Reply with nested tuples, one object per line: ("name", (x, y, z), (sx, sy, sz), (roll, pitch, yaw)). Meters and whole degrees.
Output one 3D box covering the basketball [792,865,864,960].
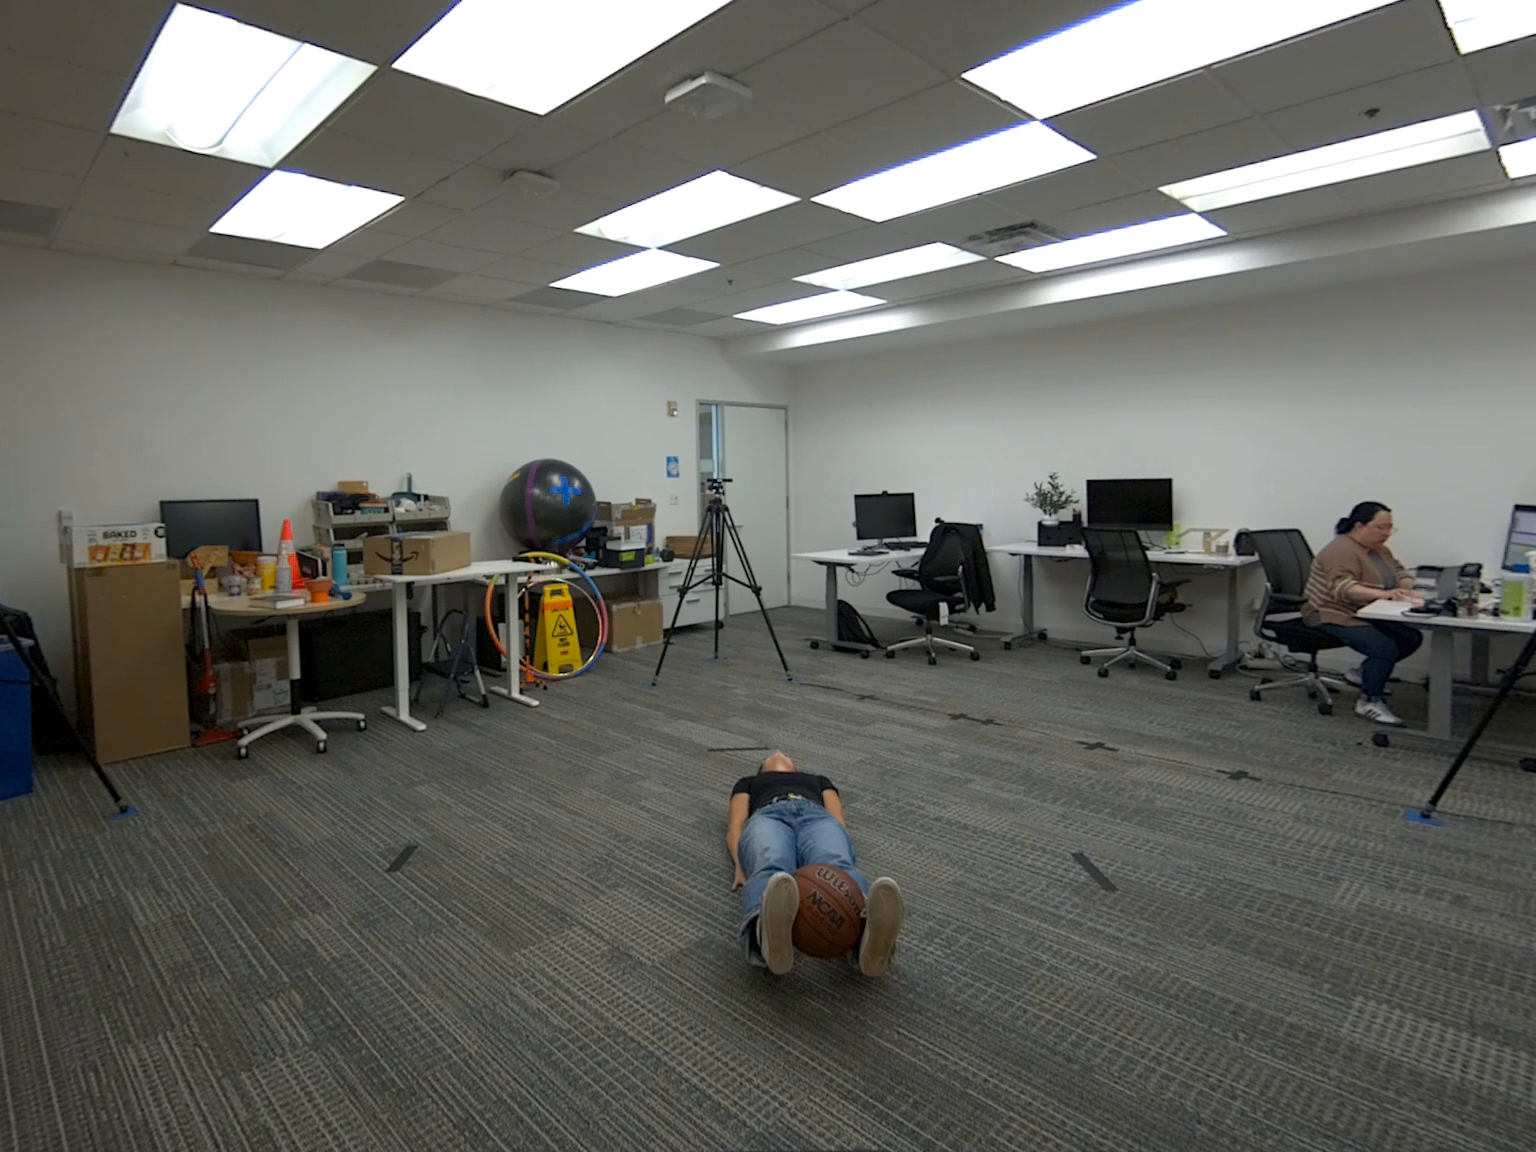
("basketball", (0.152, 0.901, 2.326), (0.236, 0.235, 0.237), (-1, 5, -2))
